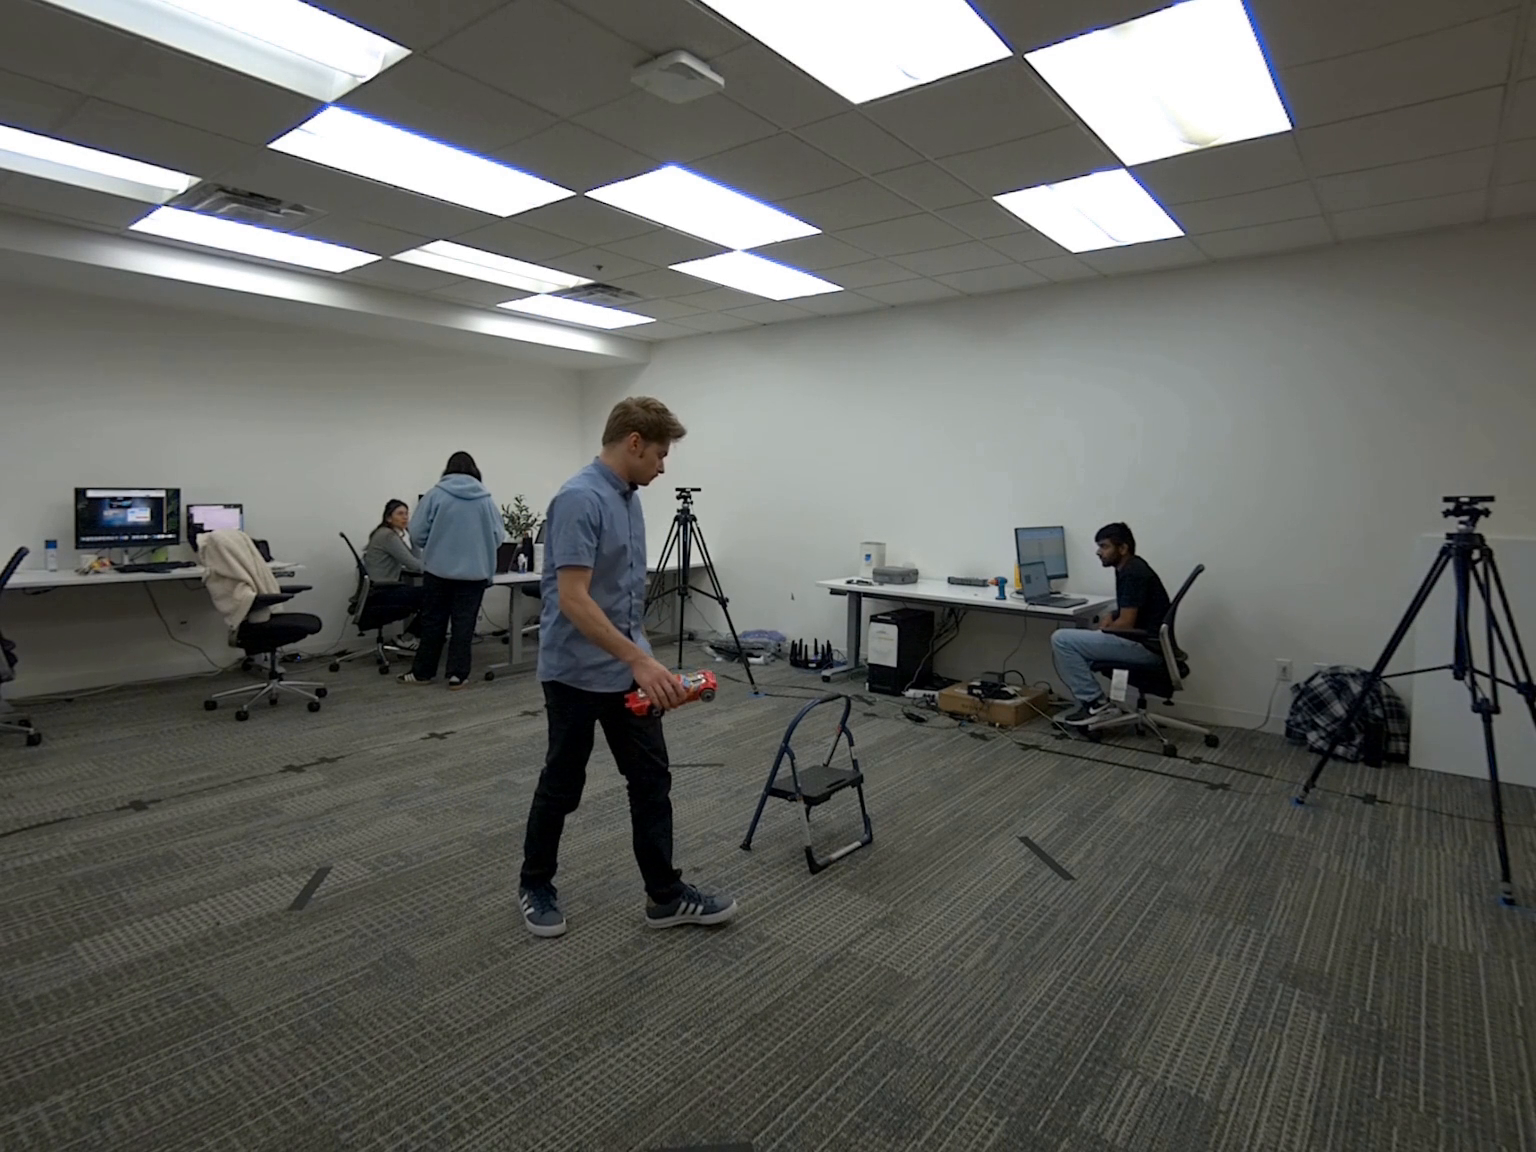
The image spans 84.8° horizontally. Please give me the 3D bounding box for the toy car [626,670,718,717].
[{"bbox_3d":[-0.287,0.328,2.335,0.252,0.082,0.134,-7,19,-9],"label":"toy car"}]
